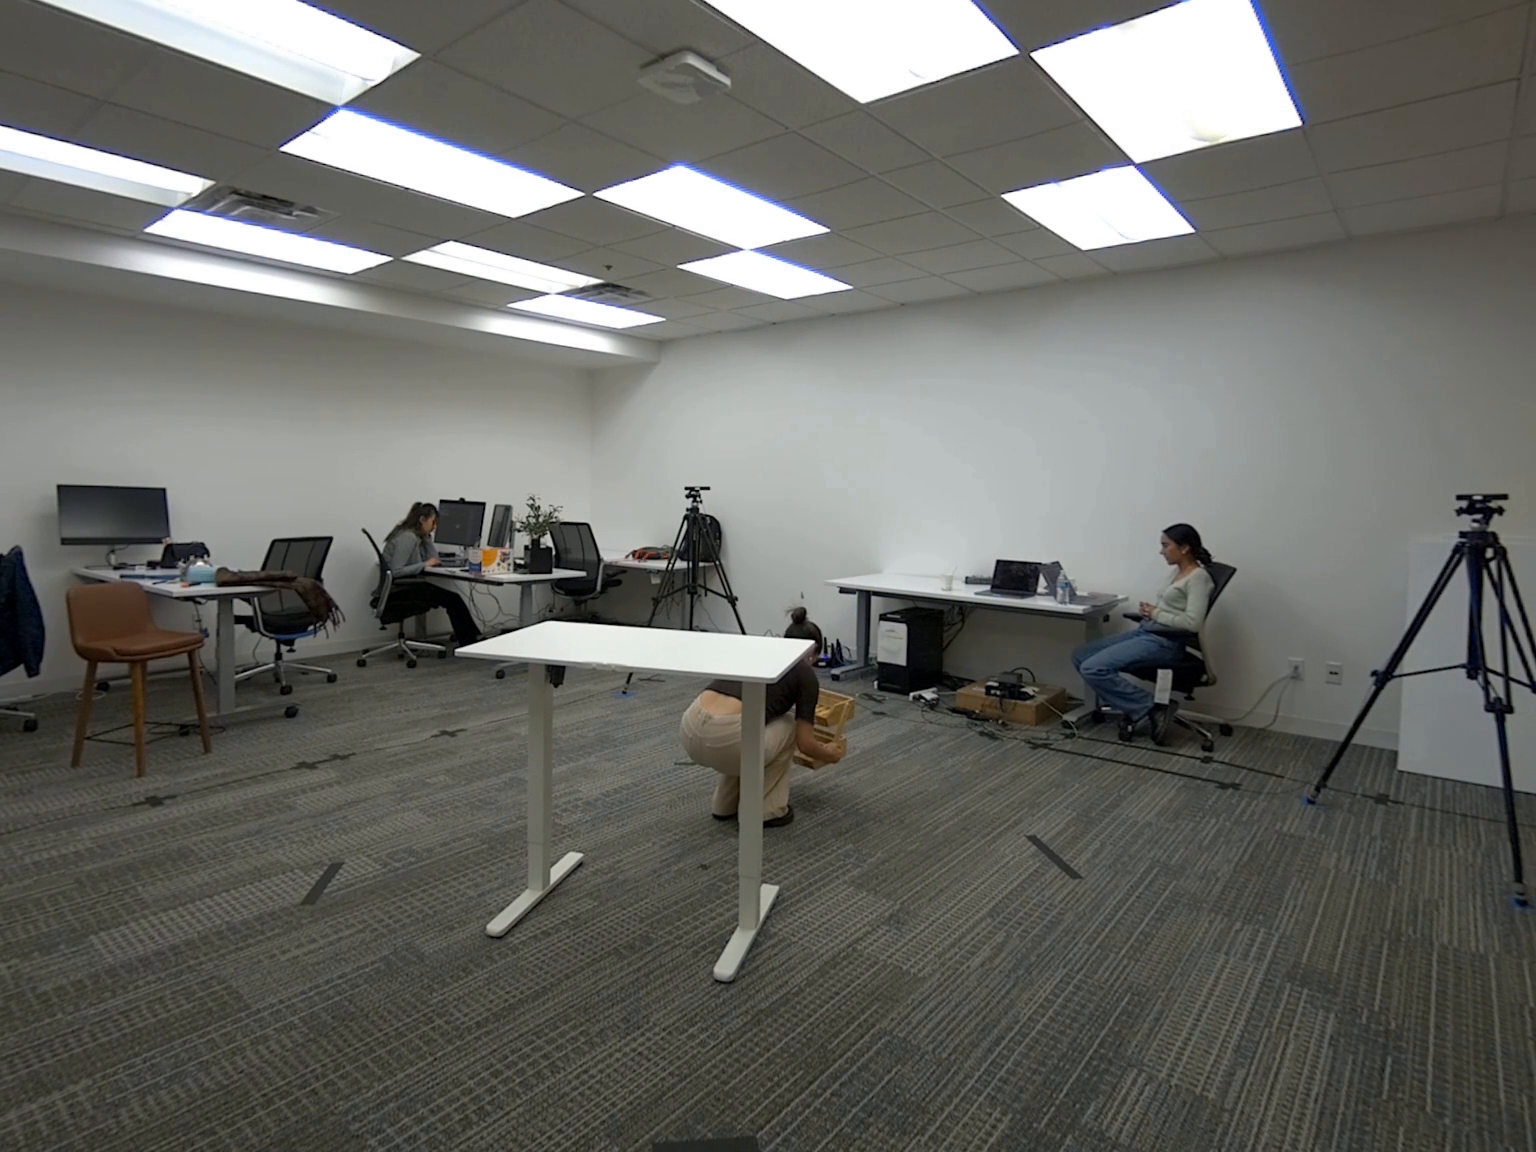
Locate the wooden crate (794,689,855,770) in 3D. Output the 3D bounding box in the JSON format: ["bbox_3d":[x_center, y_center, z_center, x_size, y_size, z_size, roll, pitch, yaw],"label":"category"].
[{"bbox_3d":[0.169,0.671,3.869,0.336,0.271,0.294,9,12,42],"label":"wooden crate"}]
